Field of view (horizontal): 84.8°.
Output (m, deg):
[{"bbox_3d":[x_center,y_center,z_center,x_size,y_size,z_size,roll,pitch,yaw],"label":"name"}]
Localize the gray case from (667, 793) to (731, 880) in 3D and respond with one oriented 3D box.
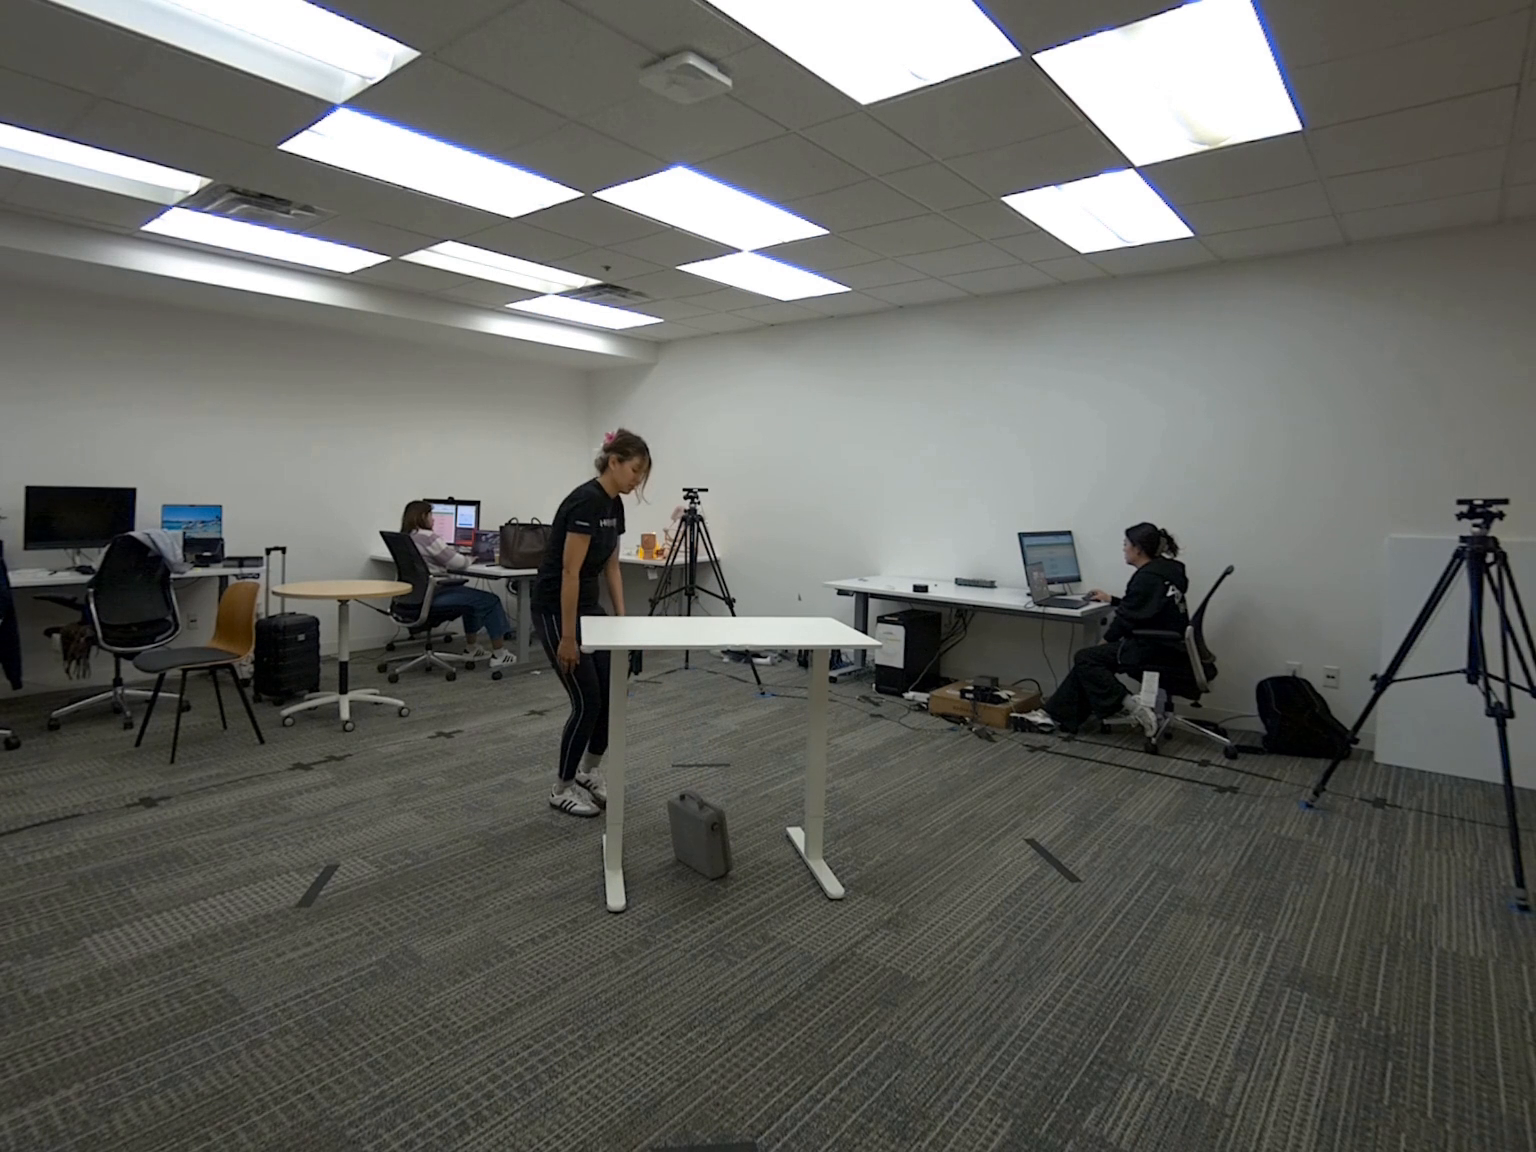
[{"bbox_3d":[-0.261,0.939,3.108,0.102,0.258,0.265,-14,11,-37],"label":"gray case"}]
